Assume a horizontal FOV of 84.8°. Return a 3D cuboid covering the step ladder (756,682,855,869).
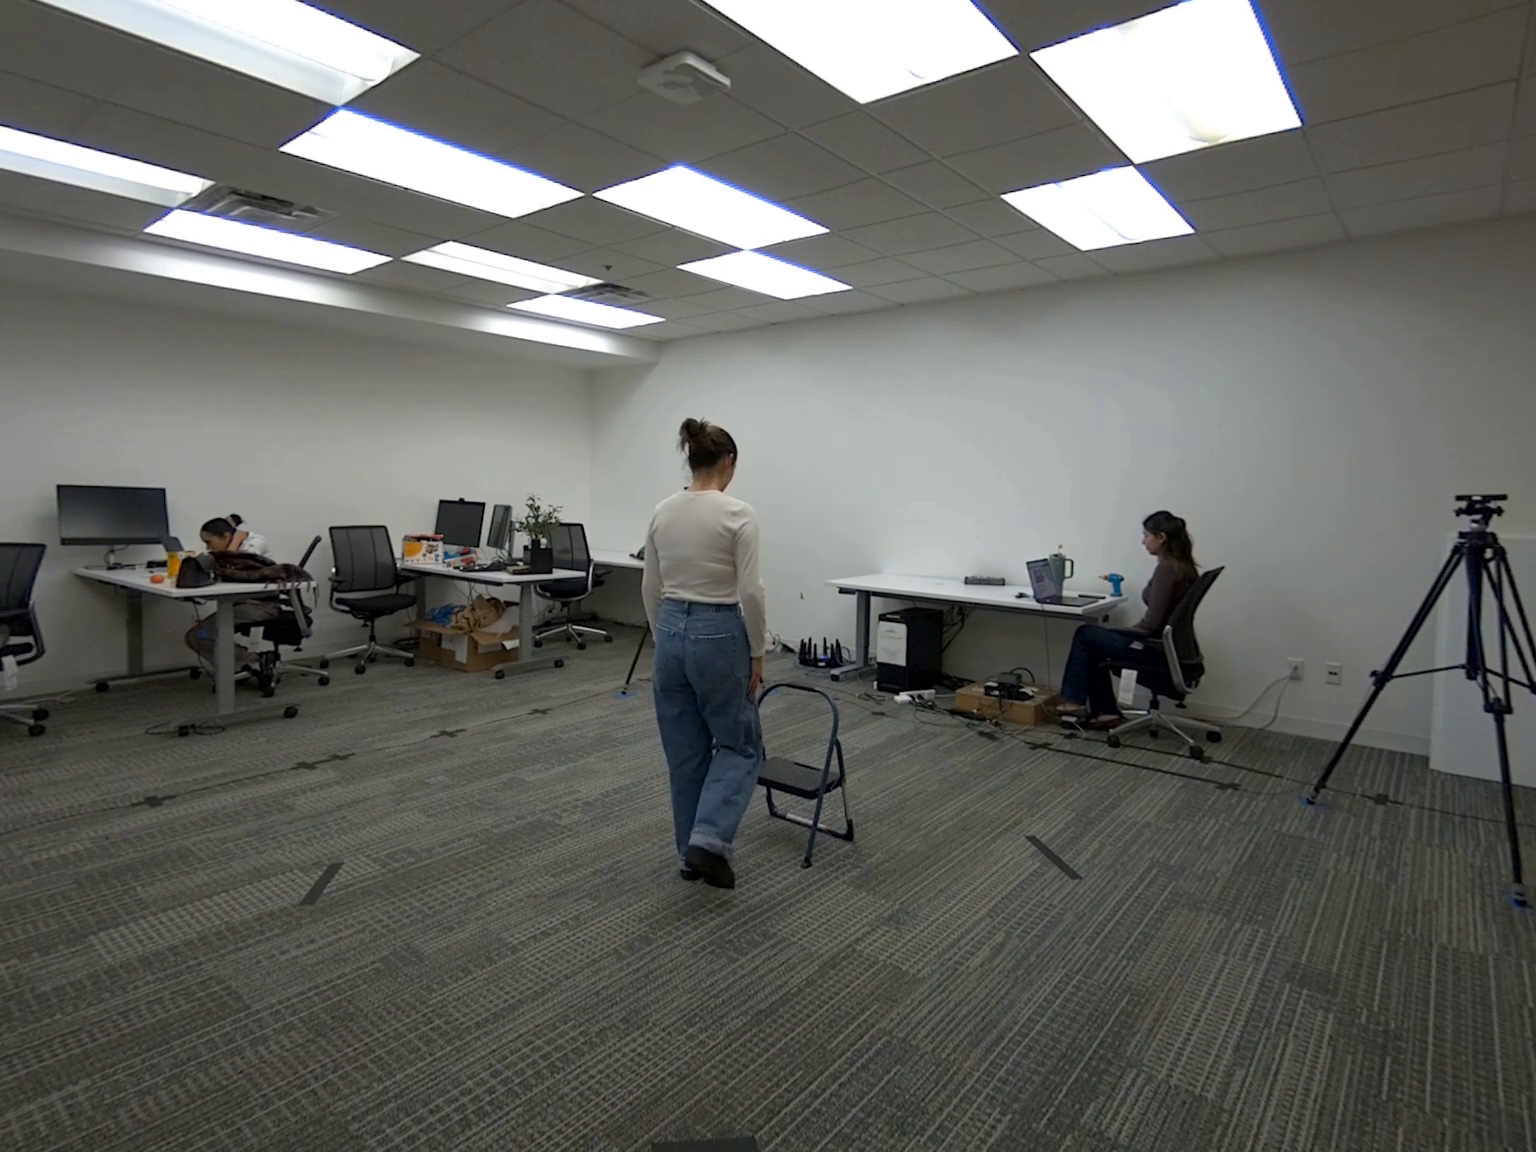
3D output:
[{"bbox_3d":[0.076,0.739,3.372,0.445,0.604,0.339,4,5,38],"label":"step ladder"}]
